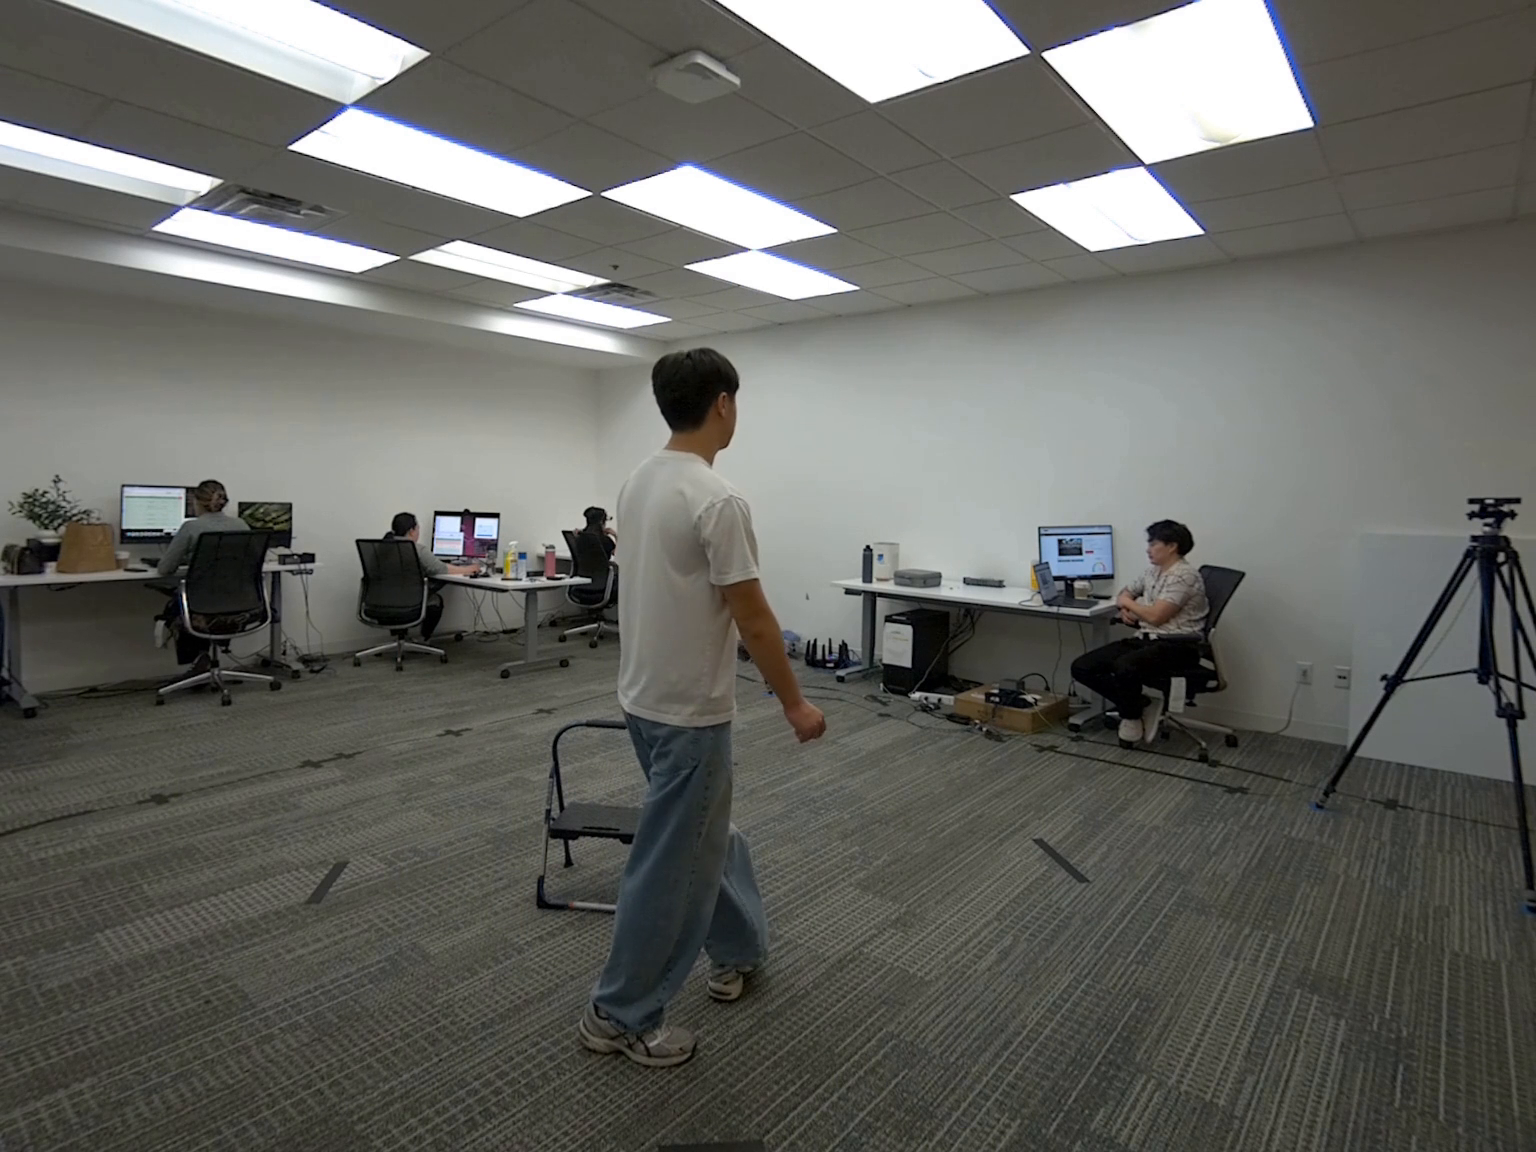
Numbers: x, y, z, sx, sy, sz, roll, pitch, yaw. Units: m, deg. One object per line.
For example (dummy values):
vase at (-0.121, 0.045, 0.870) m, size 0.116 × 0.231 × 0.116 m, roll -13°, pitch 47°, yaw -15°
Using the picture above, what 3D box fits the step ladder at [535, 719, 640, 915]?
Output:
step ladder at (-0.555, 0.778, 2.910) m, size 0.434 × 0.604 × 0.348 m, roll 1°, pitch 3°, yaw 6°
